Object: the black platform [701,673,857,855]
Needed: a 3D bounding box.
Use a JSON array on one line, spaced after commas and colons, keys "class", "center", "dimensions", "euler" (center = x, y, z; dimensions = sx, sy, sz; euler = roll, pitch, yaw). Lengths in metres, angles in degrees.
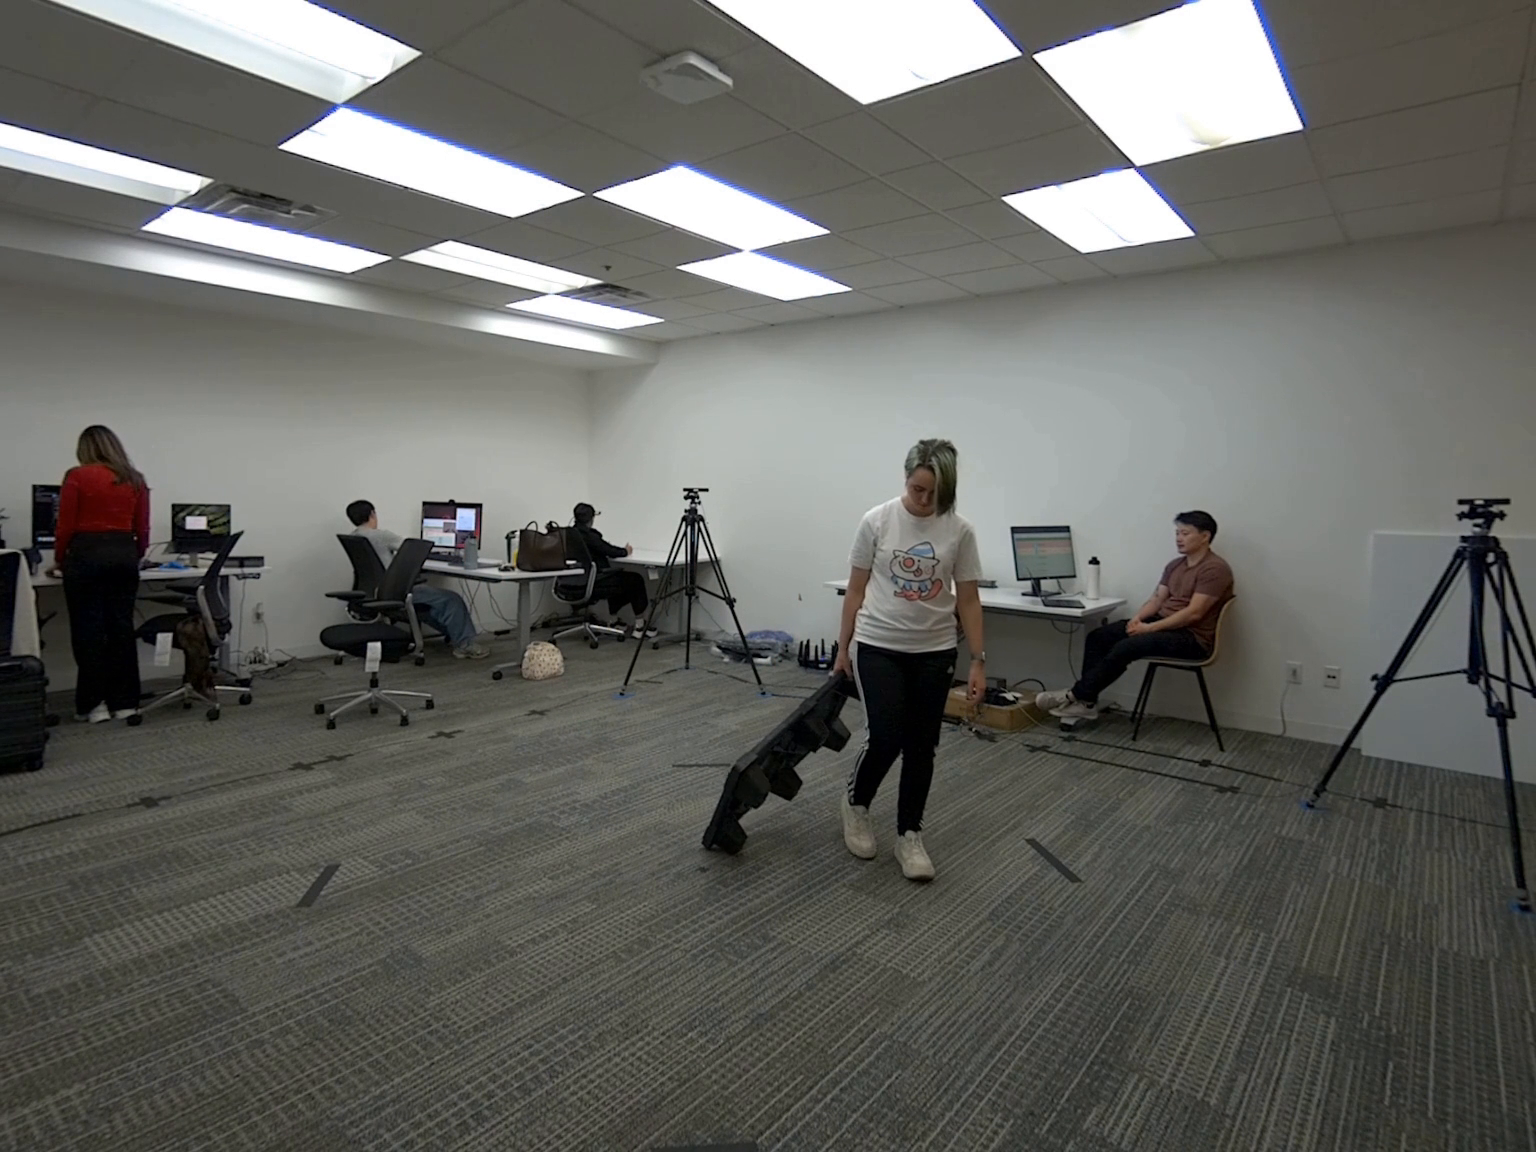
[{"class": "black platform", "center": [0.092, 0.701, 3.313], "dimensions": [0.147, 0.593, 0.797], "euler": [38, 48, 20]}]
